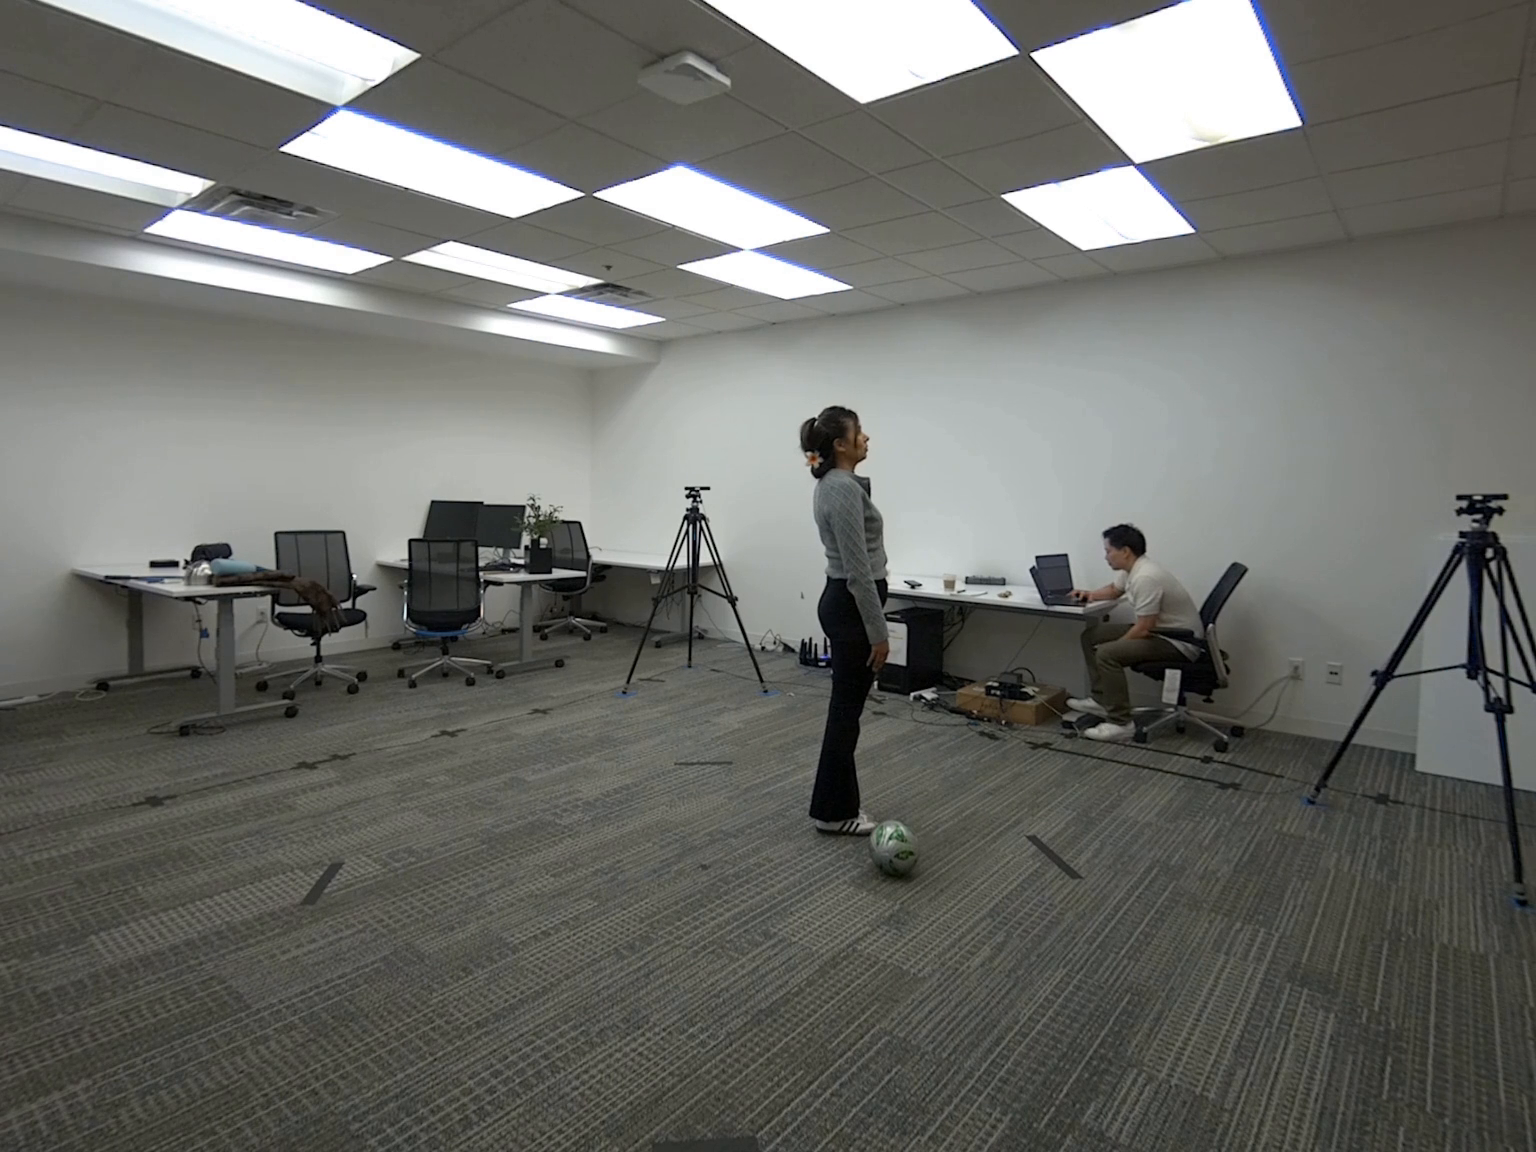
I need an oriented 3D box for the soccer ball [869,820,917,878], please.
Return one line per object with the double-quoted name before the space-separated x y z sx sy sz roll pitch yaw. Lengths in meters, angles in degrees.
"soccer ball" 0.452 0.988 3.103 0.187 0.187 0.188 1 4 -2
